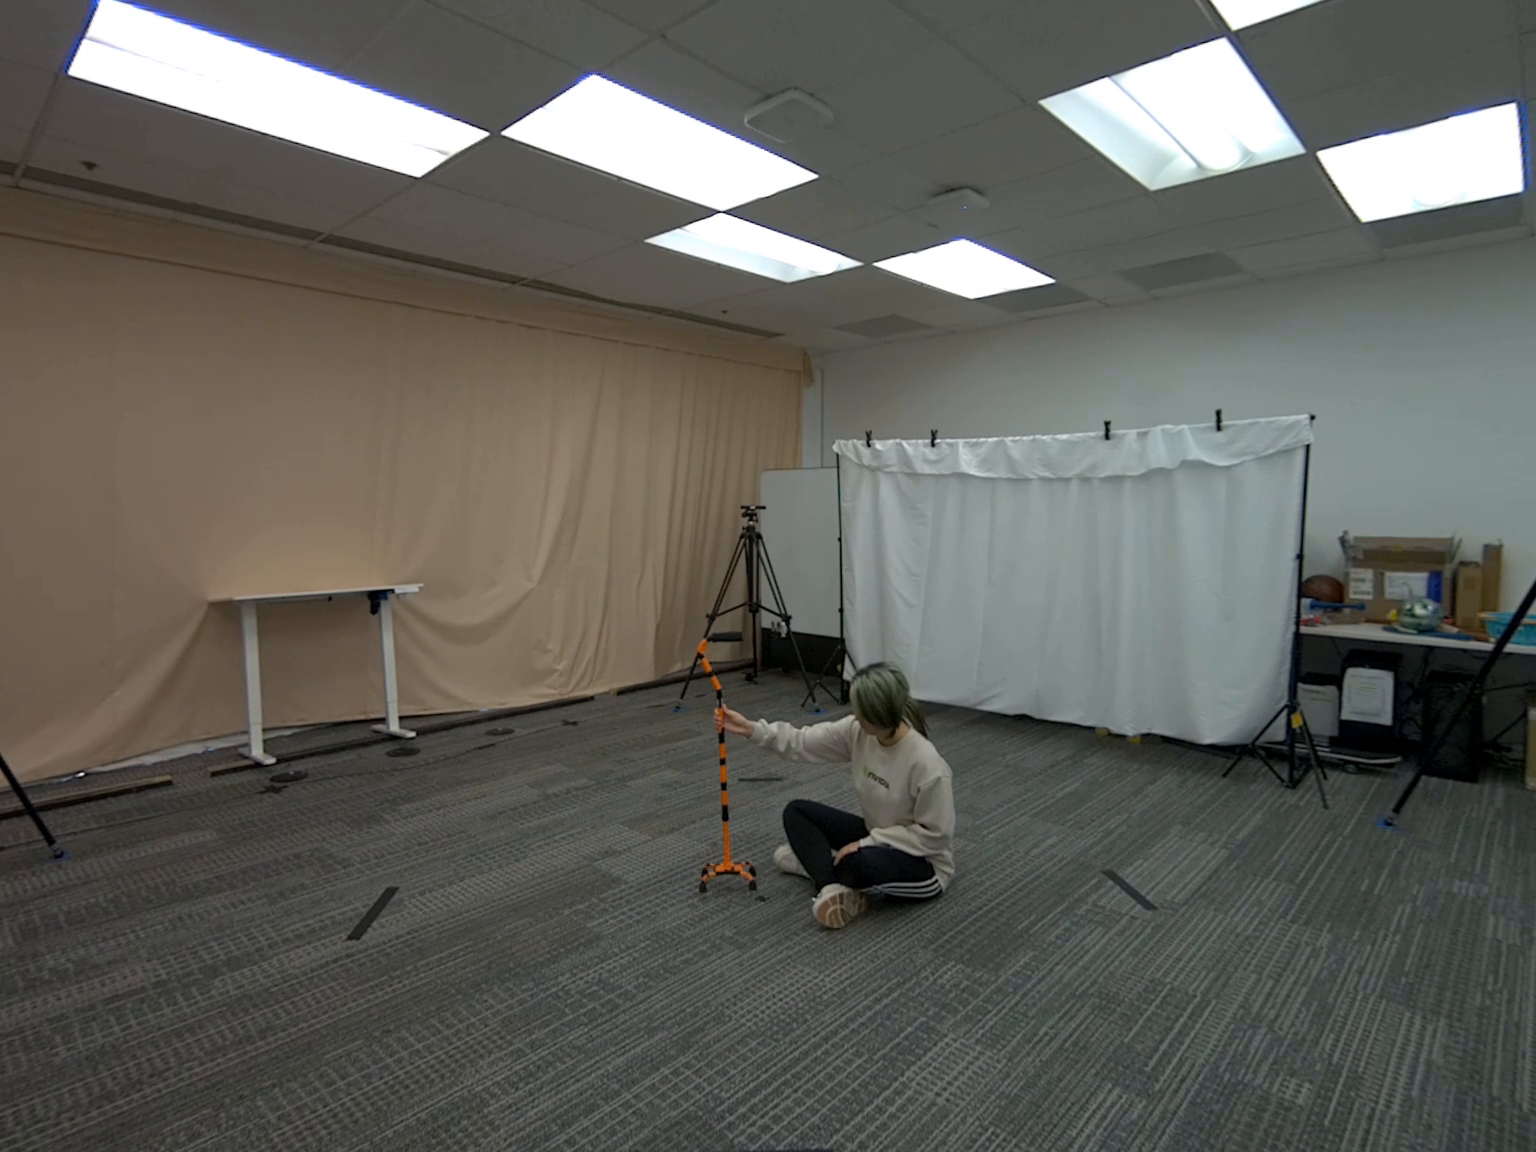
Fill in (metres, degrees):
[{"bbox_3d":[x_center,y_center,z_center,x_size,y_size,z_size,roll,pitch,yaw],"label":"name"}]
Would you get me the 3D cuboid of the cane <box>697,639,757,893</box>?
[{"bbox_3d":[-0.168,0.667,3.046,0.207,0.907,0.151,-2,1,0],"label":"cane"}]
